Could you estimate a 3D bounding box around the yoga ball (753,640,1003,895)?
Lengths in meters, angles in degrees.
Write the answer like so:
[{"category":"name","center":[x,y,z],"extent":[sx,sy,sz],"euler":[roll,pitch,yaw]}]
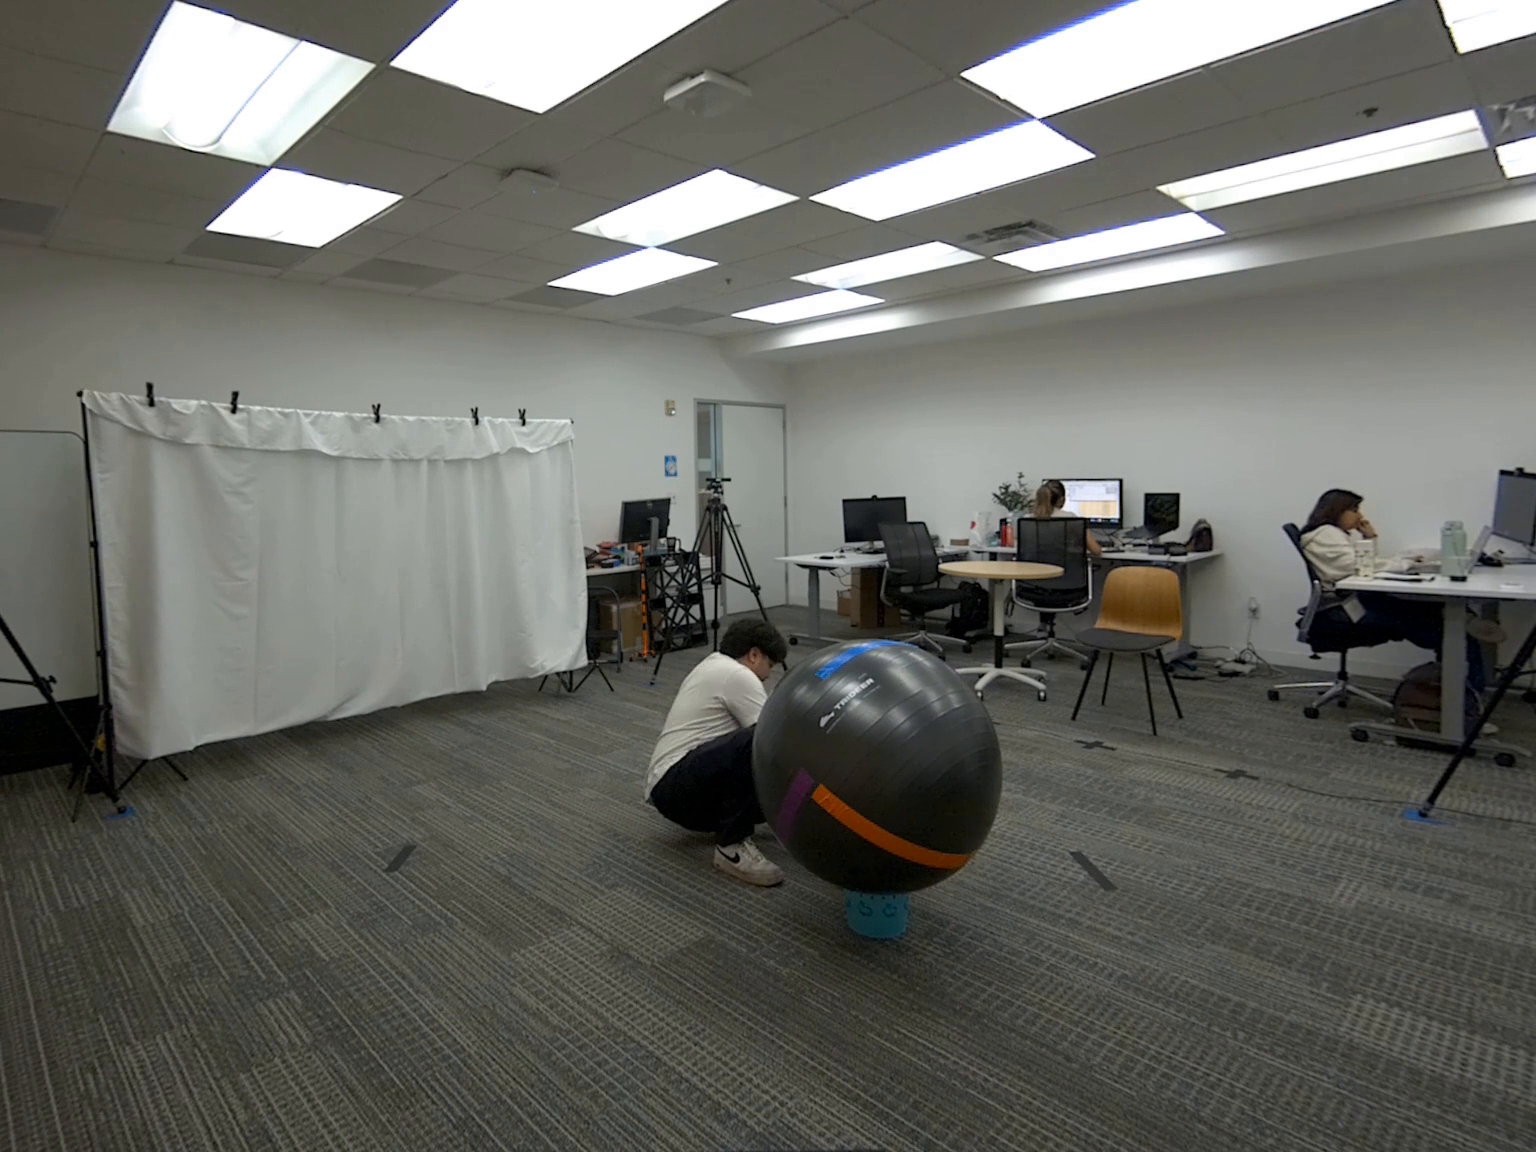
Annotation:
[{"category":"yoga ball","center":[0.327,0.579,2.636],"extent":[0.757,0.755,0.762],"euler":[-1,5,-2]}]
